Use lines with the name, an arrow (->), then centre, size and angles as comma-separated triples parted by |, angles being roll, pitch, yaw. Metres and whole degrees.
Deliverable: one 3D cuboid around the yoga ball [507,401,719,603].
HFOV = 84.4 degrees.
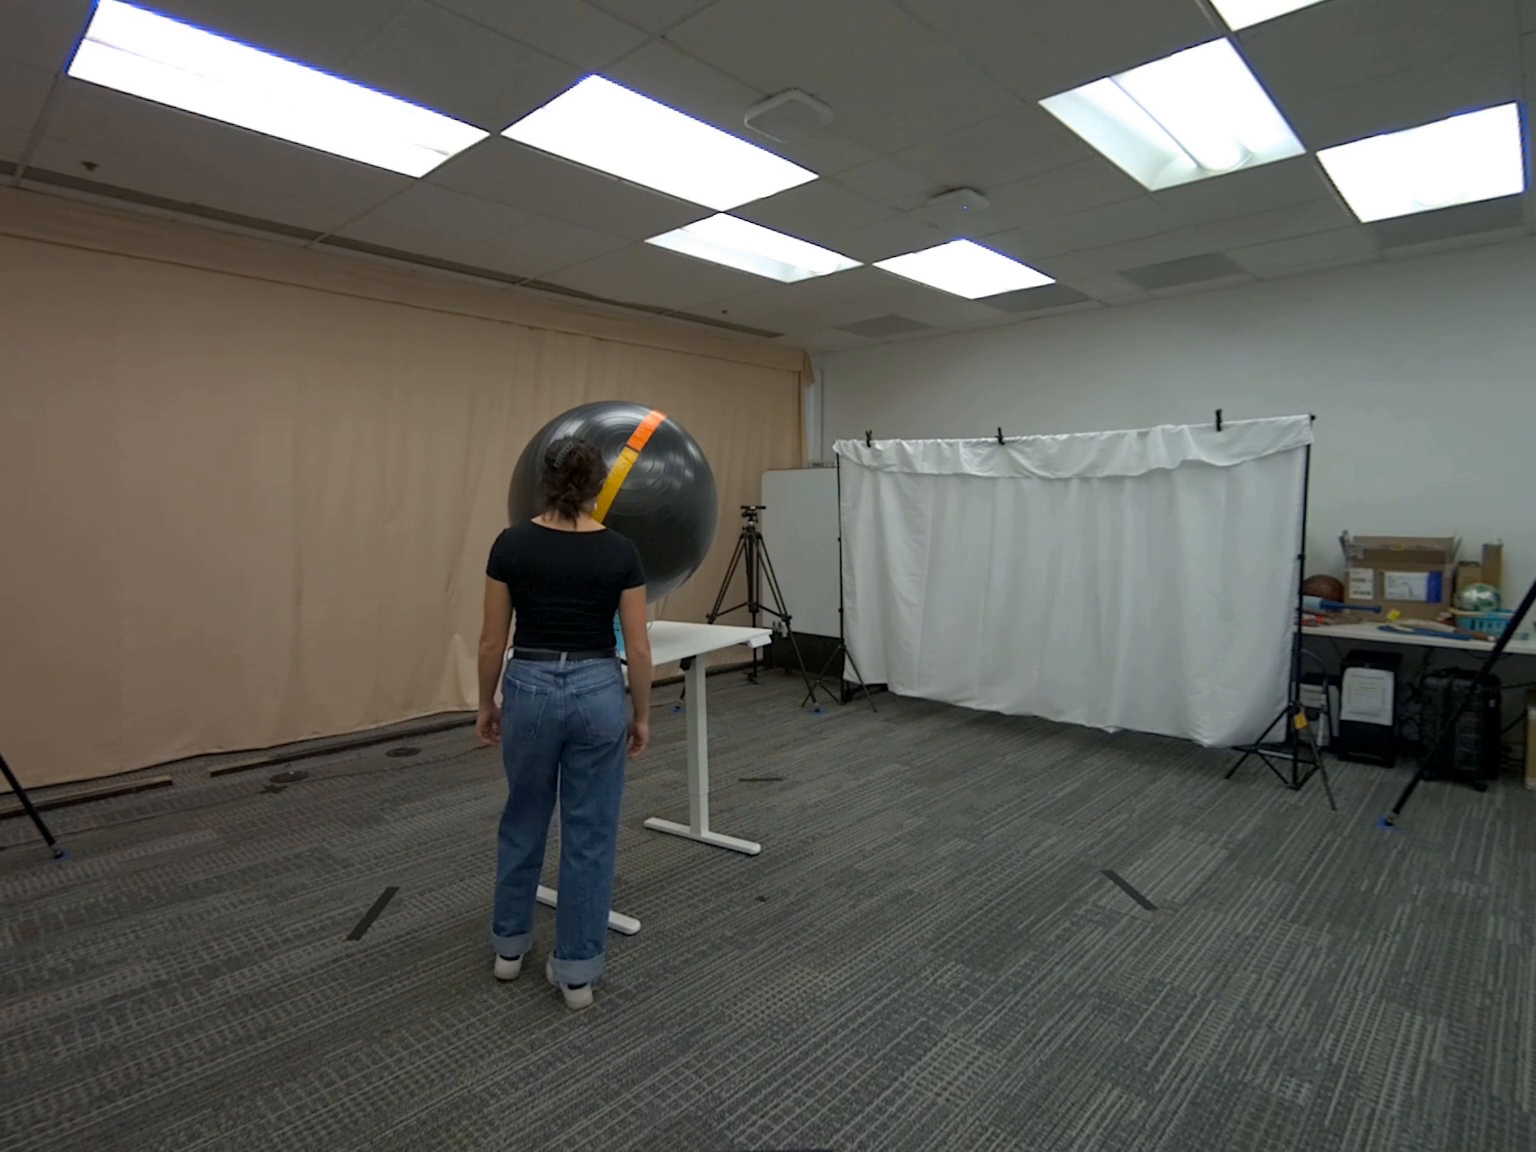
yoga ball -> -0.560, -0.250, 3.067 | 0.757, 0.756, 0.760 | 0, 4, -2
